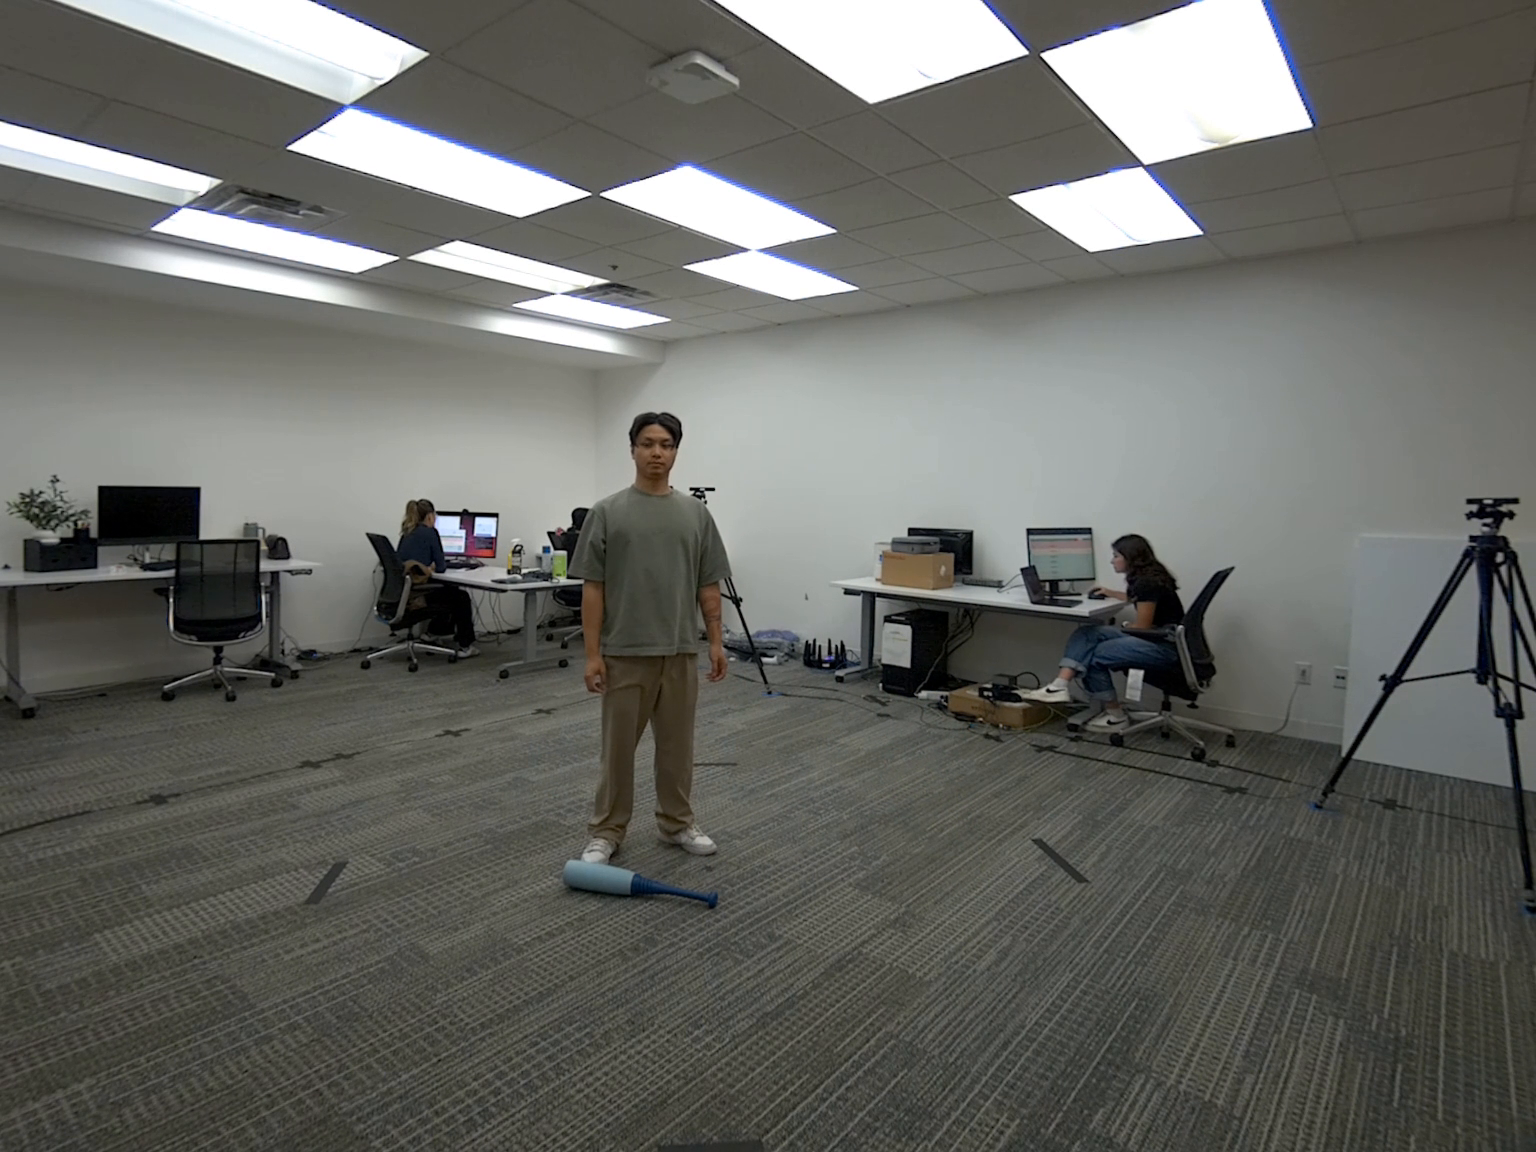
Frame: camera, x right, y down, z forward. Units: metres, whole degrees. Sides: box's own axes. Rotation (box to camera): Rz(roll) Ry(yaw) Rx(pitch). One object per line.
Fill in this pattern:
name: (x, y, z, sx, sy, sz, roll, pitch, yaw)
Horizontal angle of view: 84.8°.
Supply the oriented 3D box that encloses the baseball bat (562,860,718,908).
baseball bat: (-0.447, 1.042, 2.885, 0.551, 0.089, 0.088, 4, 5, 13)
